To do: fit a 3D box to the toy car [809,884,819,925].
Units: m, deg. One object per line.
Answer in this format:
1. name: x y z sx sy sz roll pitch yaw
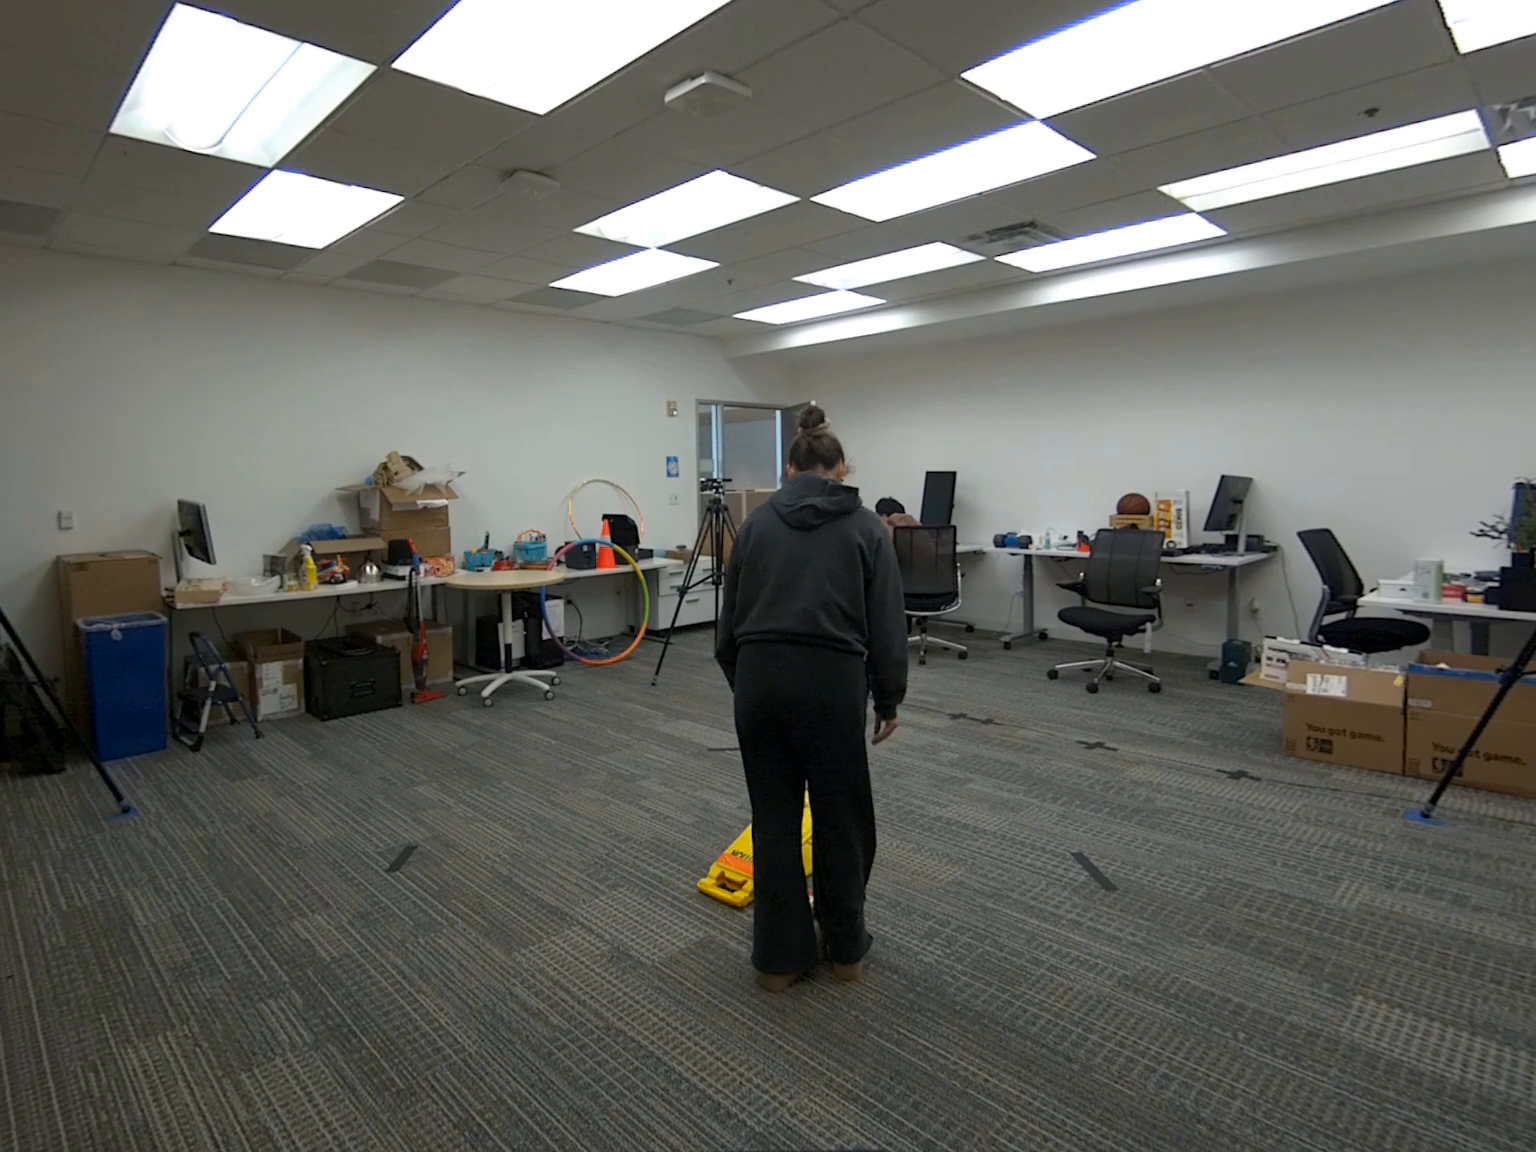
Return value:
1. toy car: 0.070 1.061 2.679 0.246 0.083 0.134 8 -1 -41
